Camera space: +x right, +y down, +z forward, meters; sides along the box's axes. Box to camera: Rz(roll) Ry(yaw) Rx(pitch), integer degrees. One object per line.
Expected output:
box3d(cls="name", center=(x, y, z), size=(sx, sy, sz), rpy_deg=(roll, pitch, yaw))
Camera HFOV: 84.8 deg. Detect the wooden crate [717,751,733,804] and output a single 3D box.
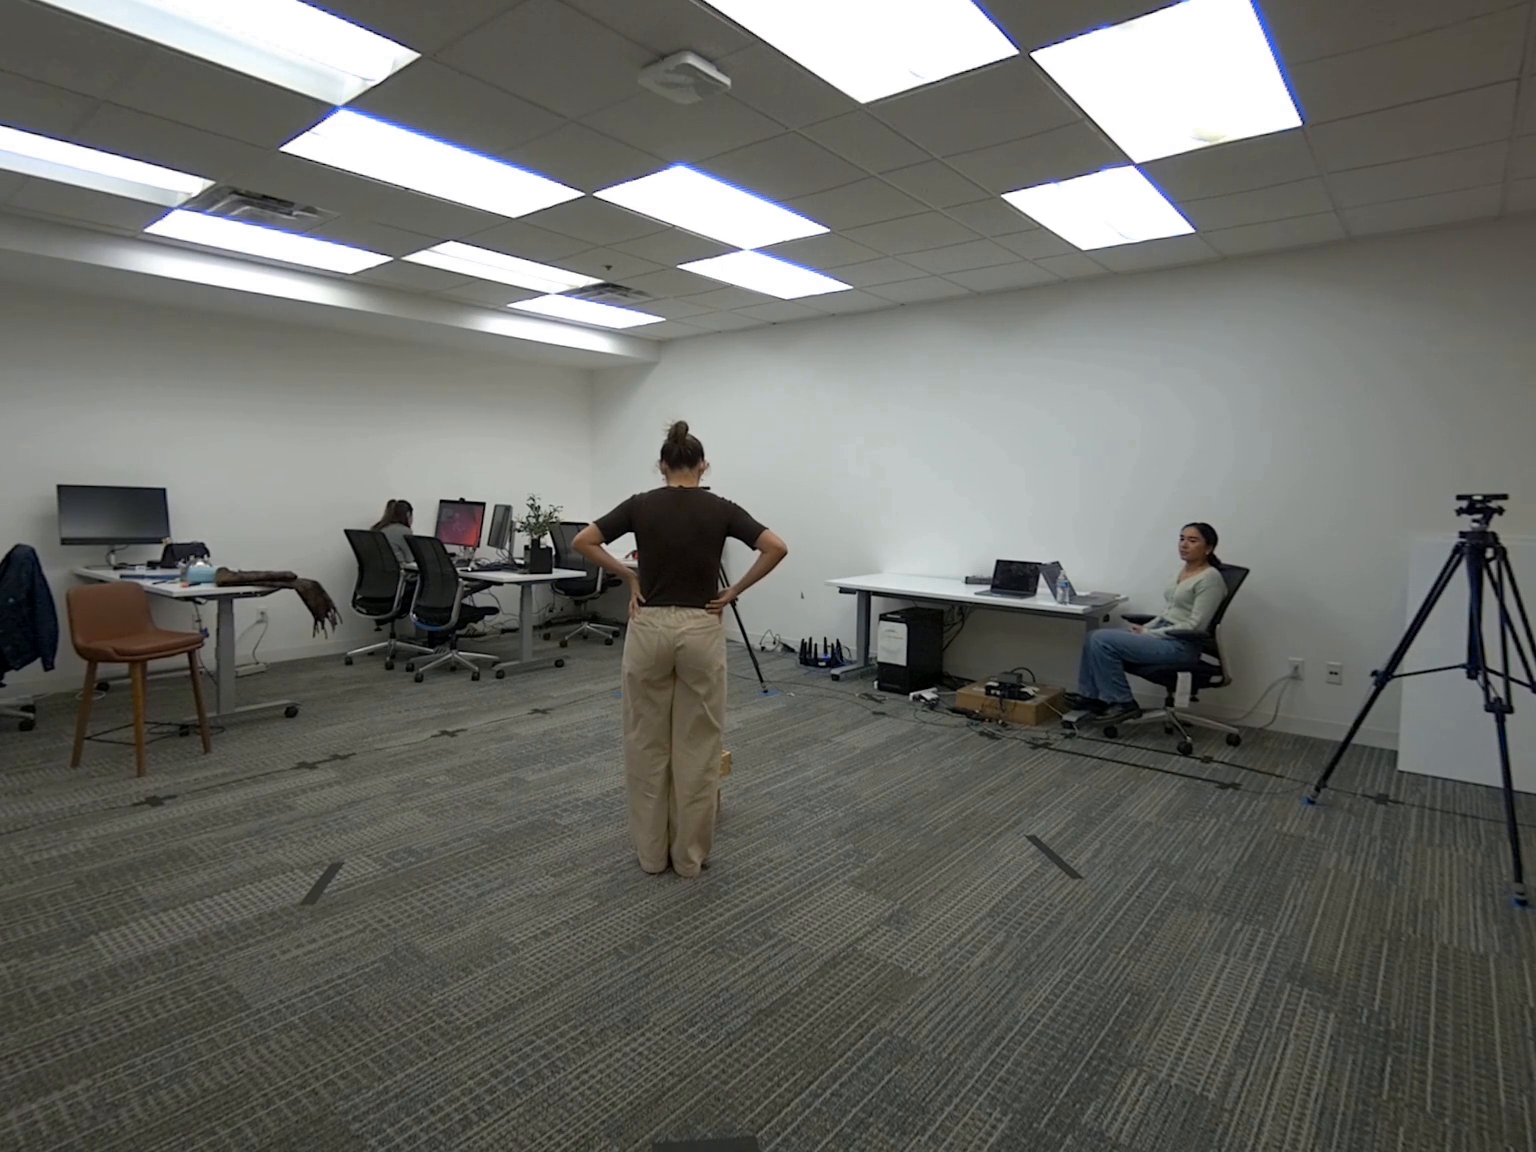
box3d(cls="wooden crate", center=(-0.377, 0.873, 3.603), size=(0.311, 0.272, 0.316), rpy_deg=(5, 6, 32))
